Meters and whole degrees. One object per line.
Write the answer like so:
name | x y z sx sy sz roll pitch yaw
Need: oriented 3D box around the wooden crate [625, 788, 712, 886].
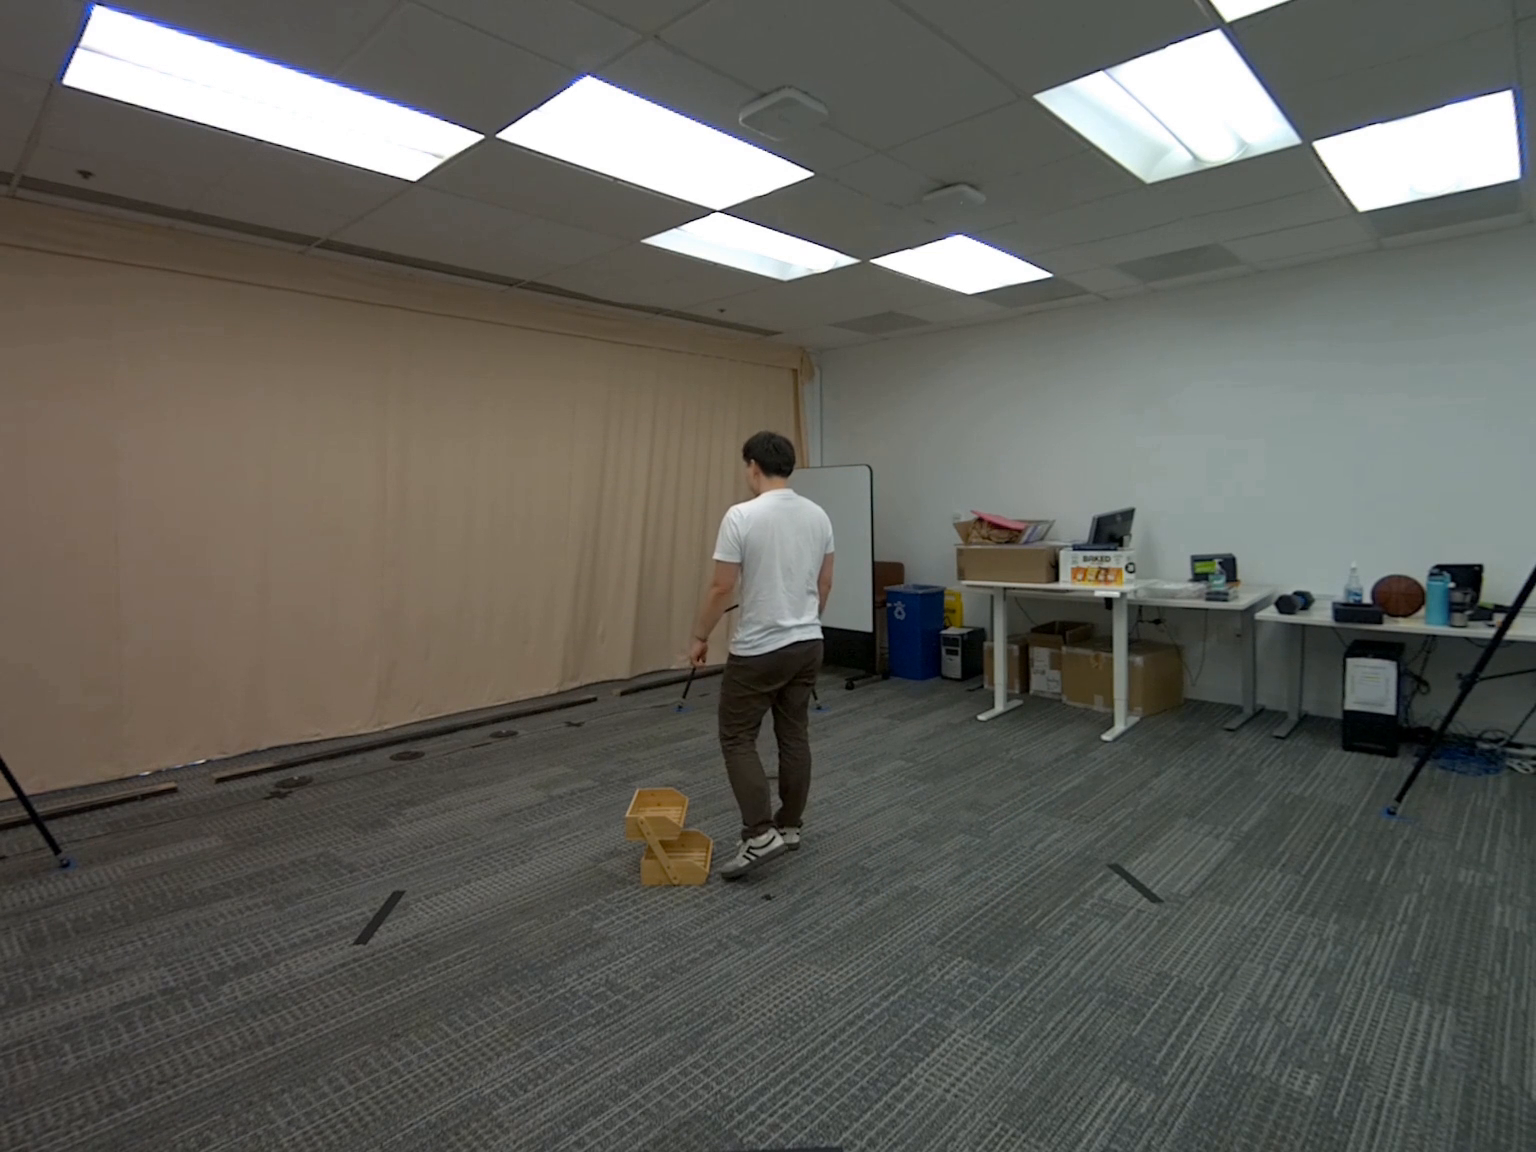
wooden crate | -0.373 0.996 3.243 0.302 0.273 0.325 -1 3 -1
